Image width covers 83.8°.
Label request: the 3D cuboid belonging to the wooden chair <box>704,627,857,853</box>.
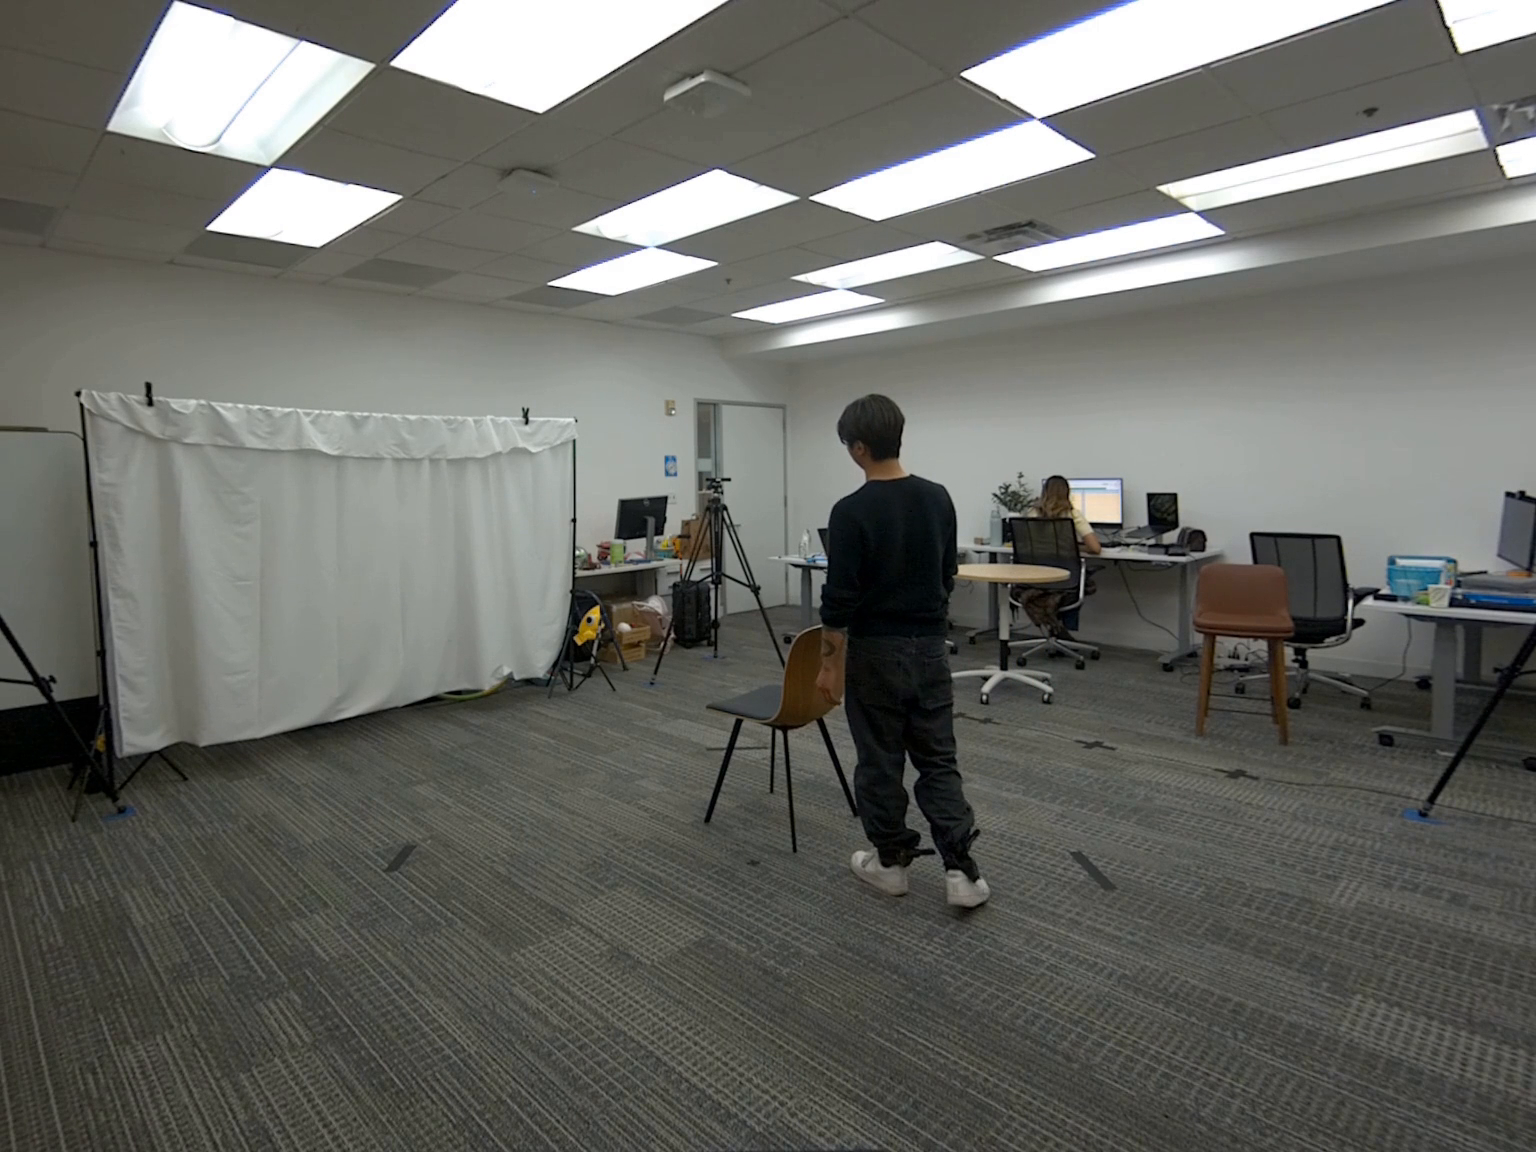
[{"bbox_3d":[0.045,0.571,3.463,0.540,0.872,0.466,8,9,38],"label":"wooden chair"}]
